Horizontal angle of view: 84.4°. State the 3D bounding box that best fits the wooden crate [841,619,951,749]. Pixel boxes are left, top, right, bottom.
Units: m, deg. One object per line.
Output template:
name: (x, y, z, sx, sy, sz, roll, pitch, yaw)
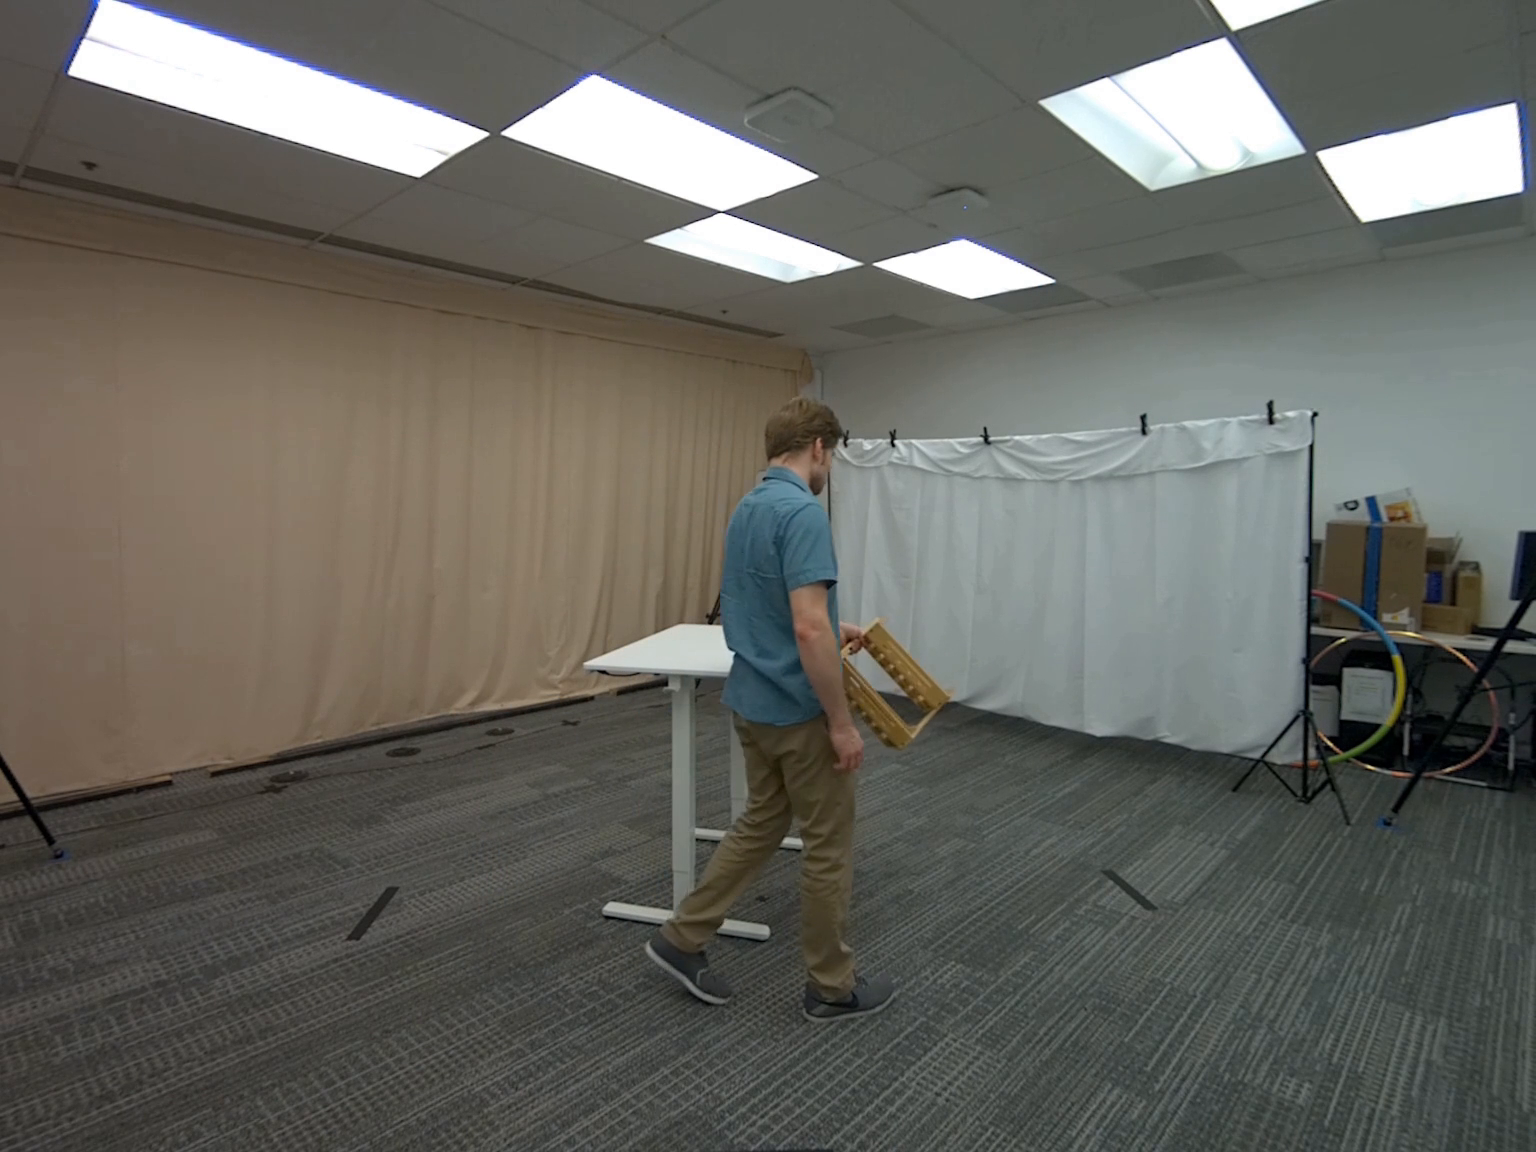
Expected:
wooden crate: (0.376, 0.314, 2.529, 0.272, 0.328, 0.300, -41, -8, -9)
